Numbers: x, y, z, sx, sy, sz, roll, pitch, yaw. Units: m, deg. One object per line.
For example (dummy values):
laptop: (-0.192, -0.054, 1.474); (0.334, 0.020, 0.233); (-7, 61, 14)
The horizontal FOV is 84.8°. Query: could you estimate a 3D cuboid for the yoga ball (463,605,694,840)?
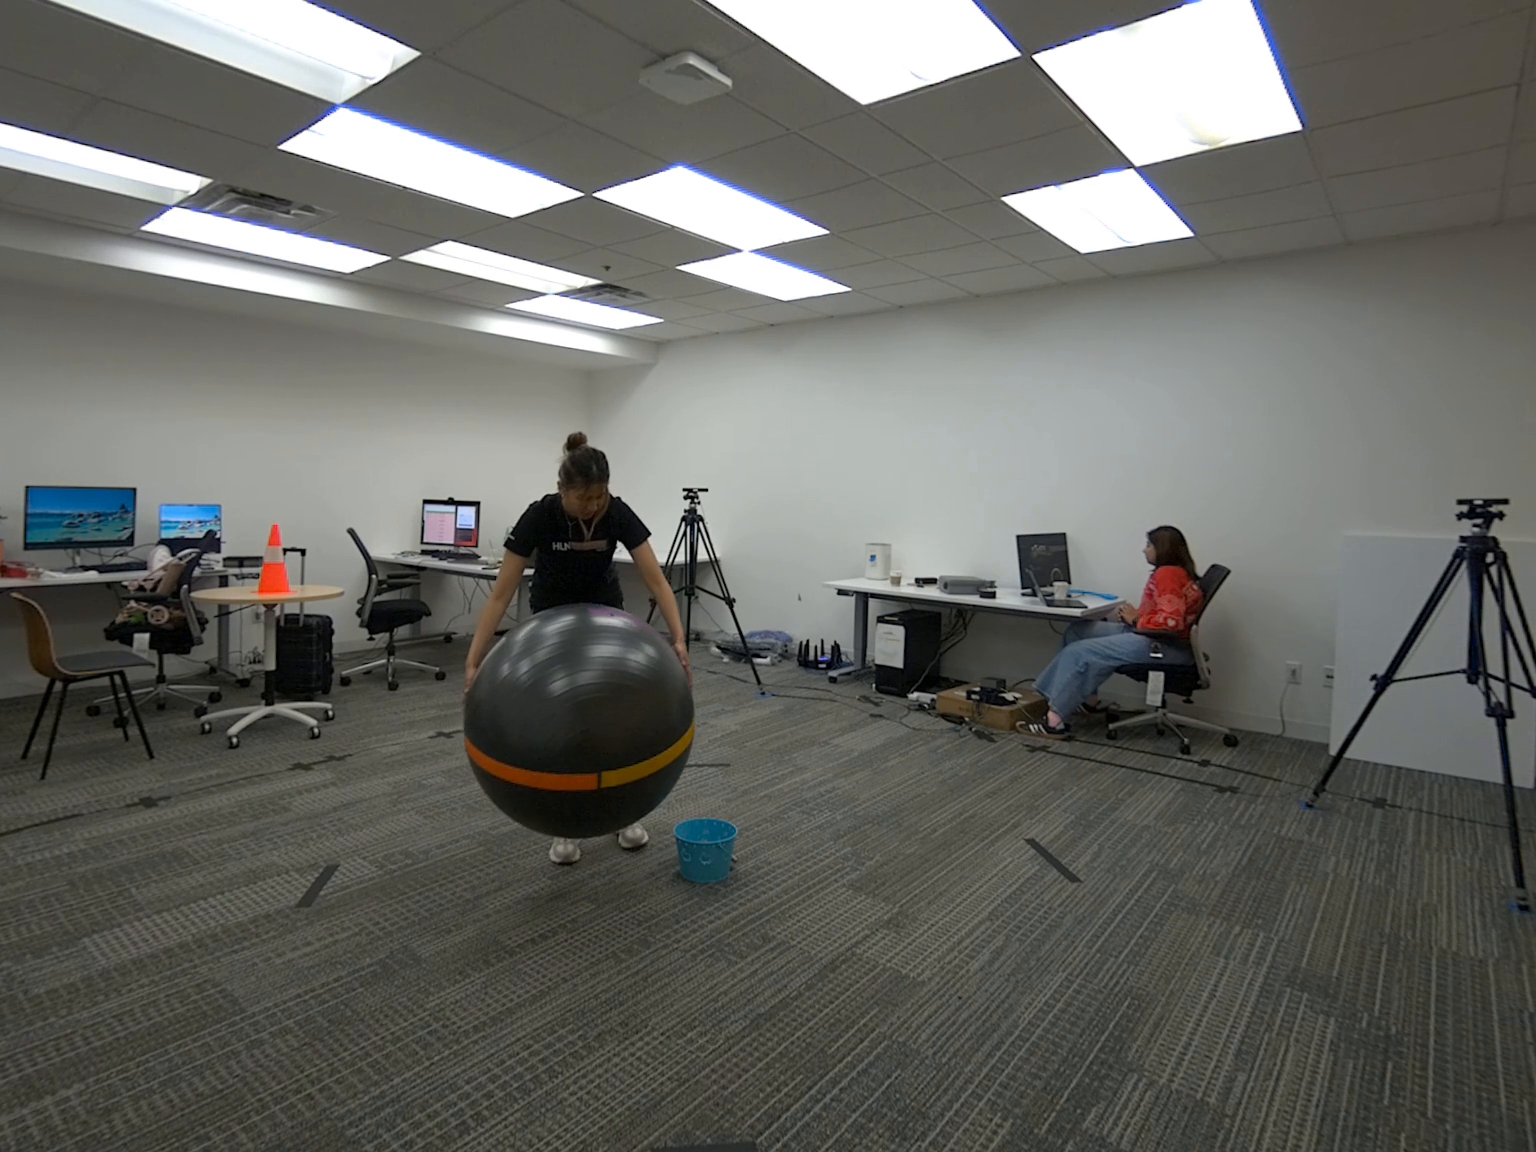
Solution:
yoga ball: (-0.629, 0.479, 2.825); (0.757, 0.755, 0.762); (1, 4, -2)
